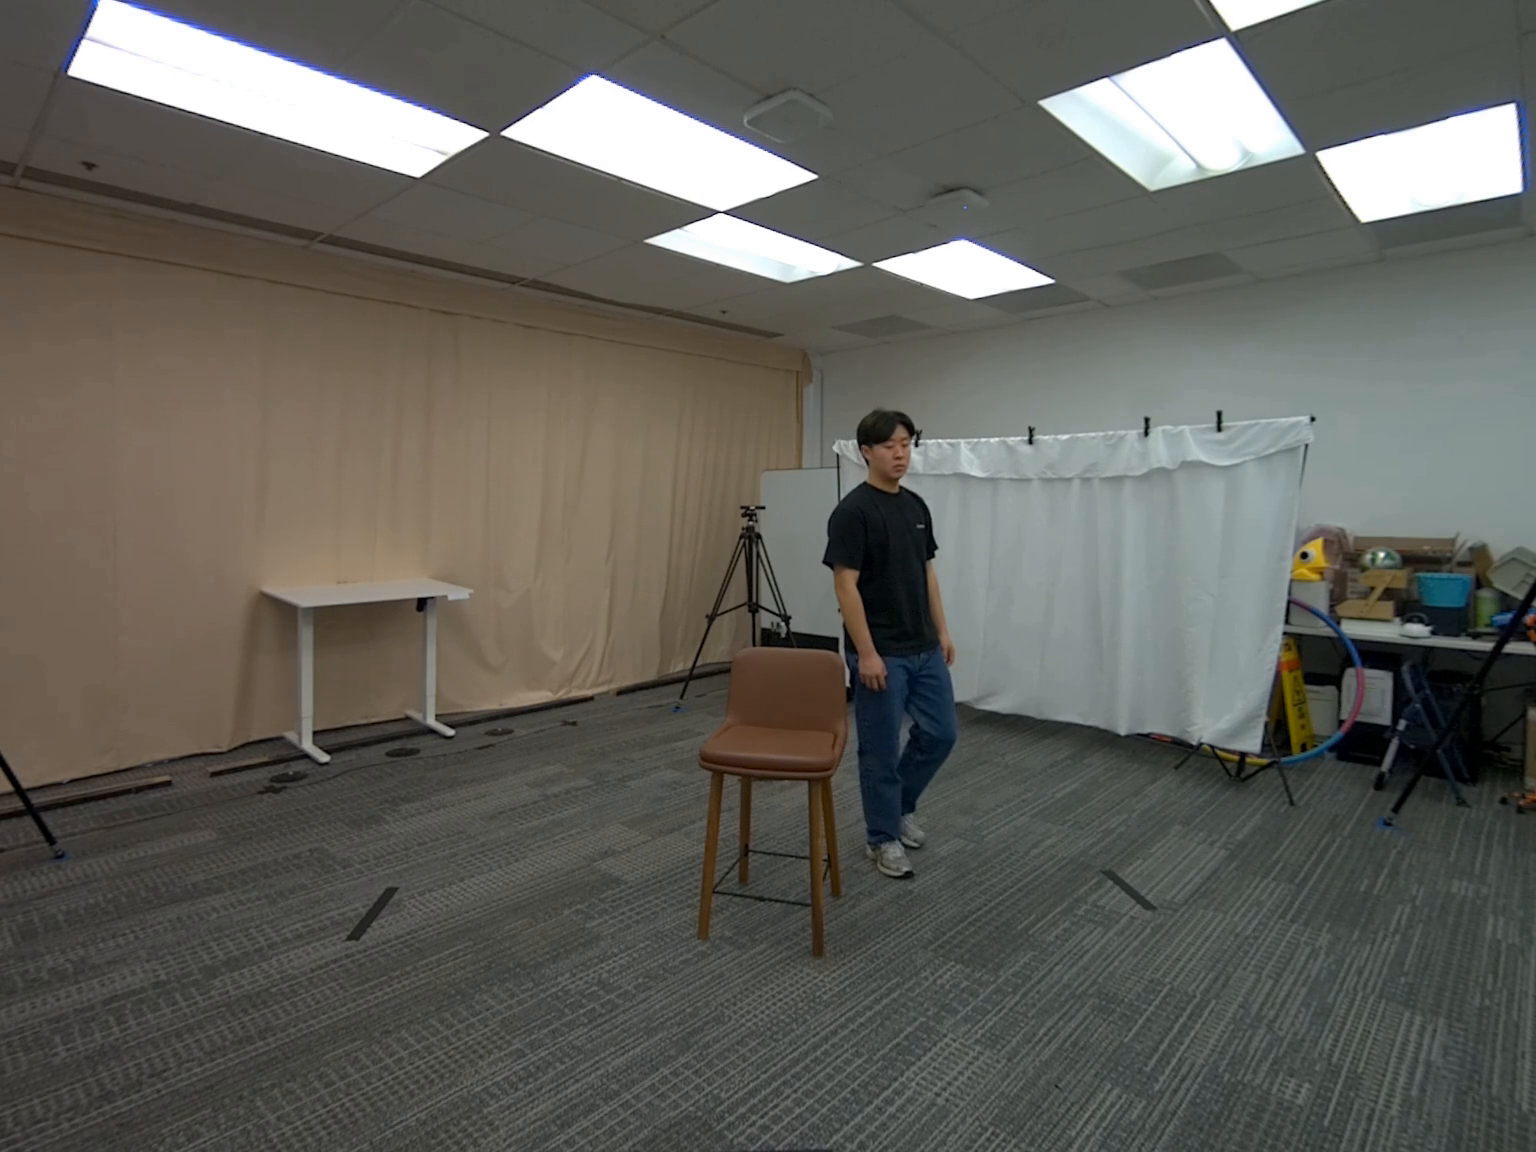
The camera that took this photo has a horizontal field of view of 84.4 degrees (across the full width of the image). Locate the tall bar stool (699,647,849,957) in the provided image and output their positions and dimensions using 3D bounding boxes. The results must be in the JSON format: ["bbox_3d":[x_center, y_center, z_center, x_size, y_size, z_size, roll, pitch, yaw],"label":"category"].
[{"bbox_3d":[0.033,0.721,2.843,0.466,0.889,0.459,2,2,18],"label":"tall bar stool"}]
